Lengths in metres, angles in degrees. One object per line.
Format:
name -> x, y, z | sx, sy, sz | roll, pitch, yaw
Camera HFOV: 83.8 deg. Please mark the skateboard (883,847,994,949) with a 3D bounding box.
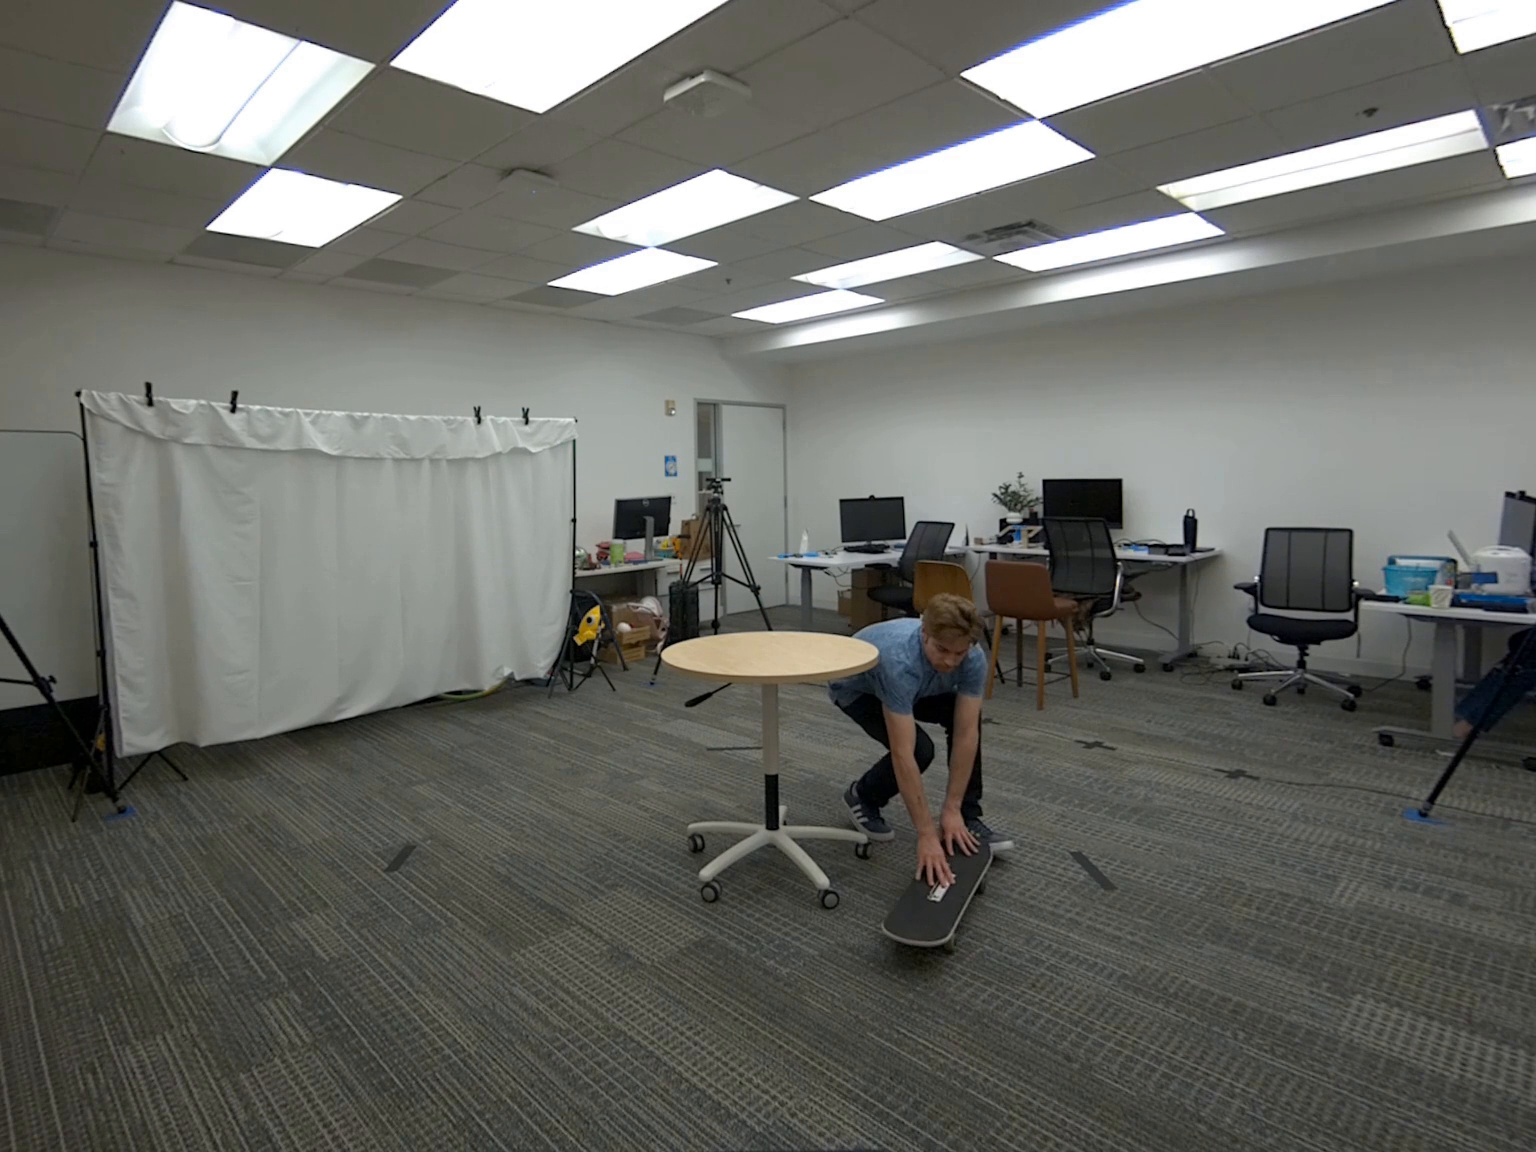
skateboard -> 0.562, 1.026, 2.714 | 0.198, 0.110, 0.769 | 2, 7, 27
